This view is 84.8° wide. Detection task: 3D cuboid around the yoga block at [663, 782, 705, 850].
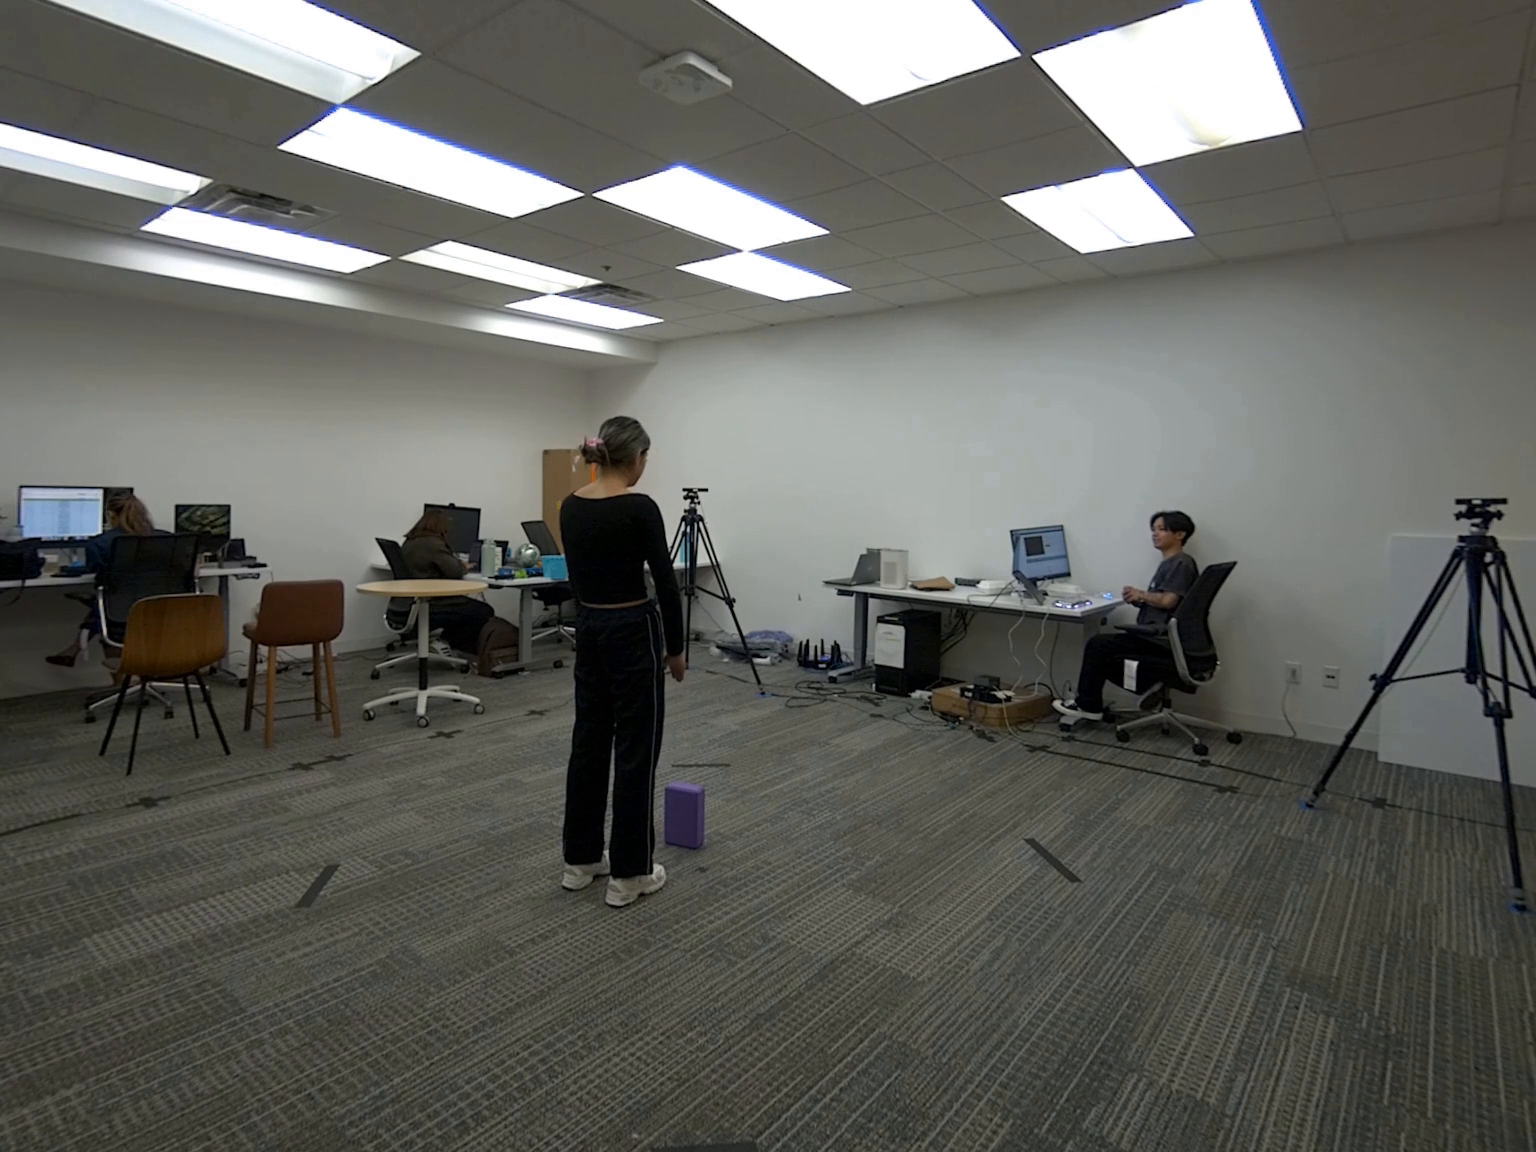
[{"bbox_3d":[-0.340,0.931,3.331,0.153,0.229,0.075,2,2,24],"label":"yoga block"}]
